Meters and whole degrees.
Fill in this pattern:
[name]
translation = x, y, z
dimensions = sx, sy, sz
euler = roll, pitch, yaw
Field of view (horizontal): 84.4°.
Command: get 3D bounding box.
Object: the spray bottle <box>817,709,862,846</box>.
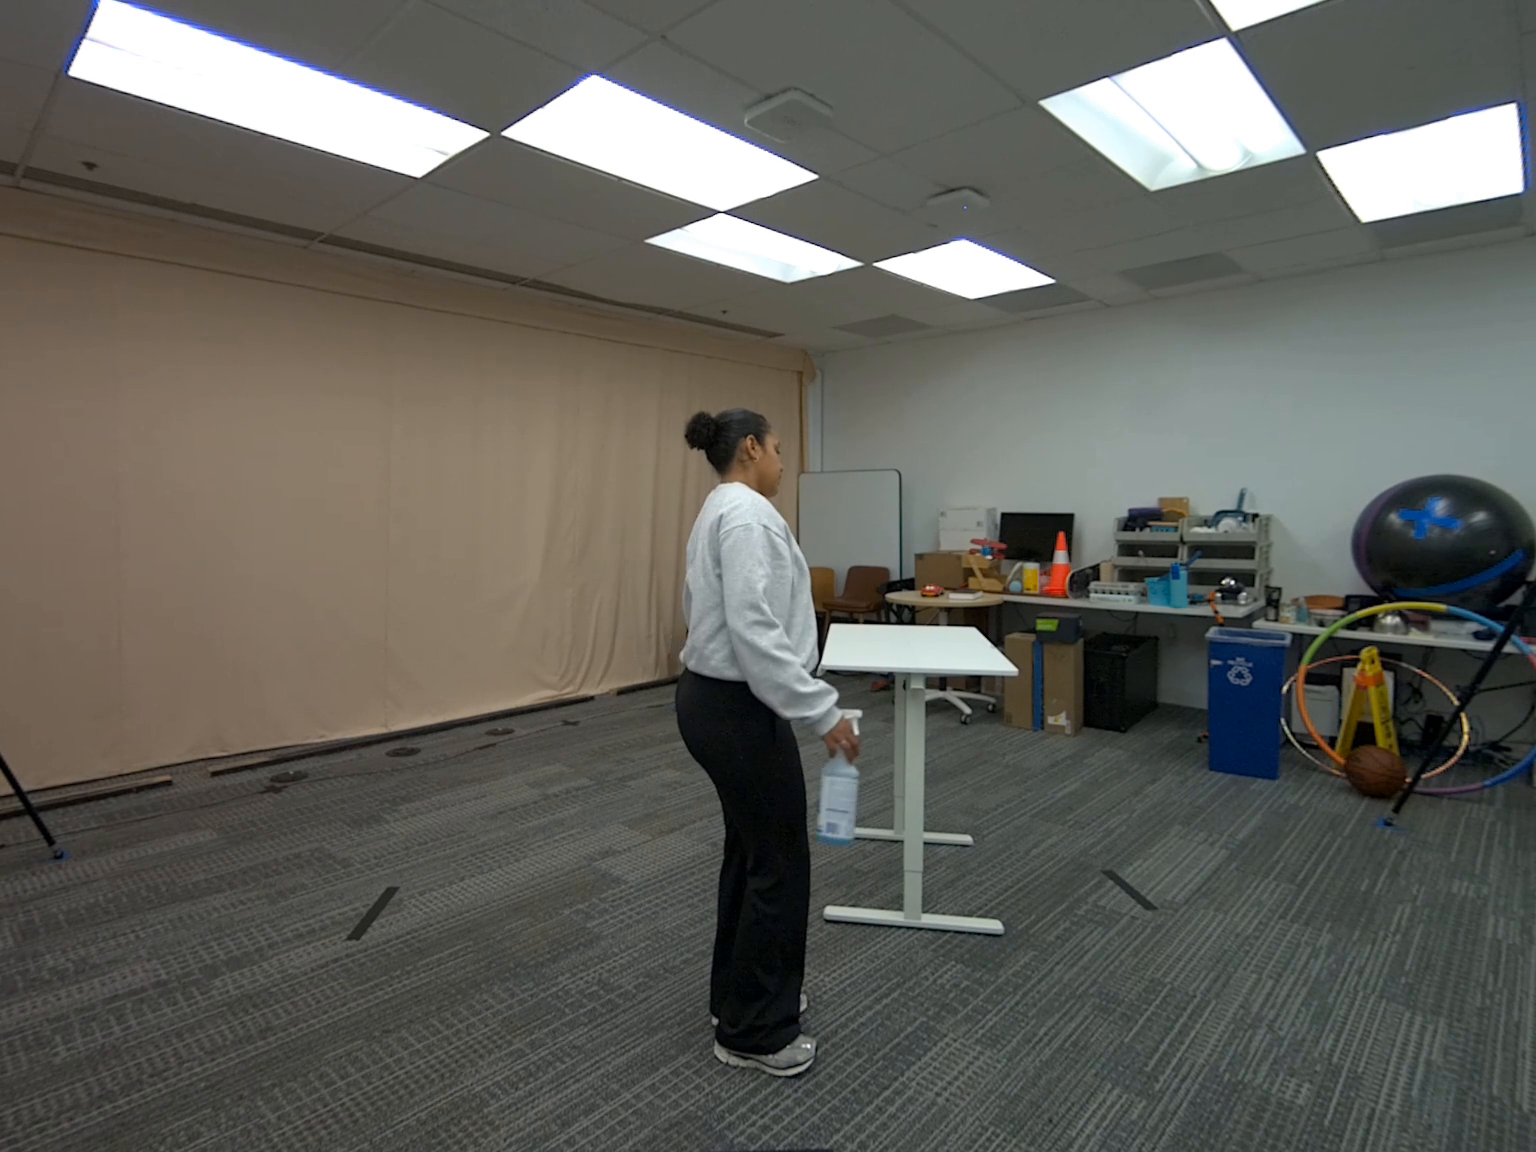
[spray bottle]
translation = 0.164, 0.450, 1.923
dimensions = 0.086, 0.299, 0.090
euler = 9, -10, -9
